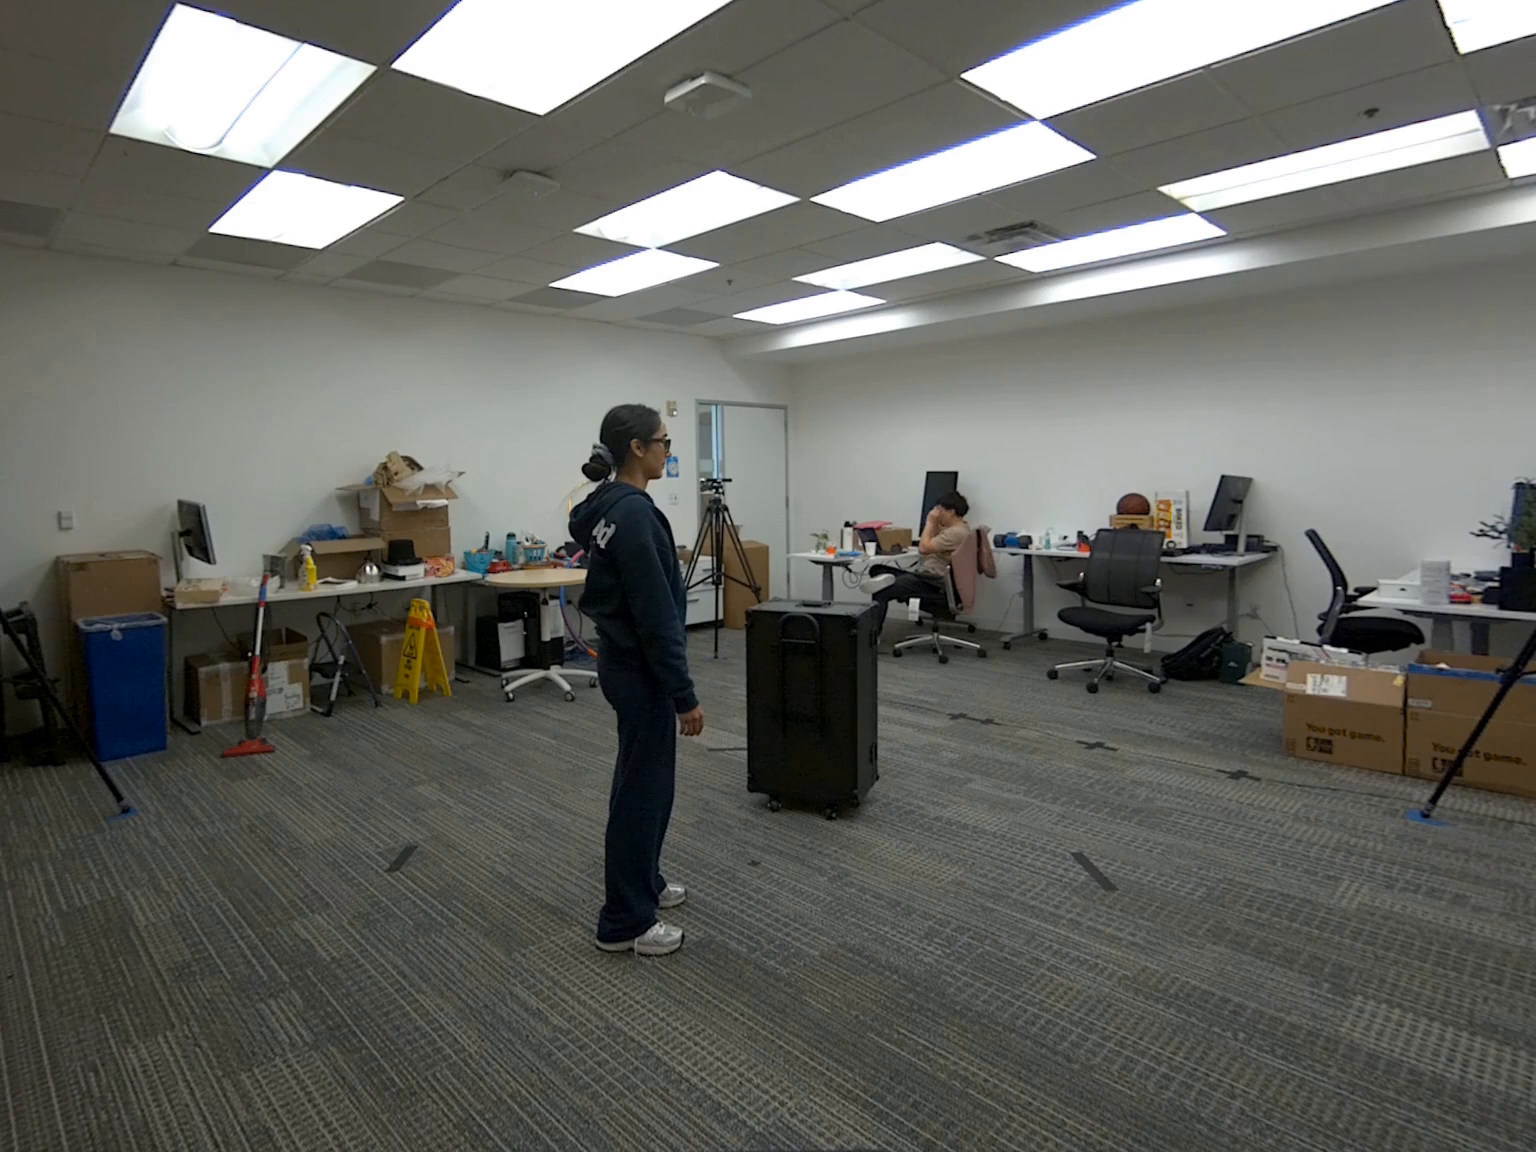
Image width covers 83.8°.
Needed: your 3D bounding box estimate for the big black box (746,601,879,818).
[{"bbox_3d":[0.200,0.553,3.652,0.532,0.858,0.389,2,5,23],"label":"big black box"}]
